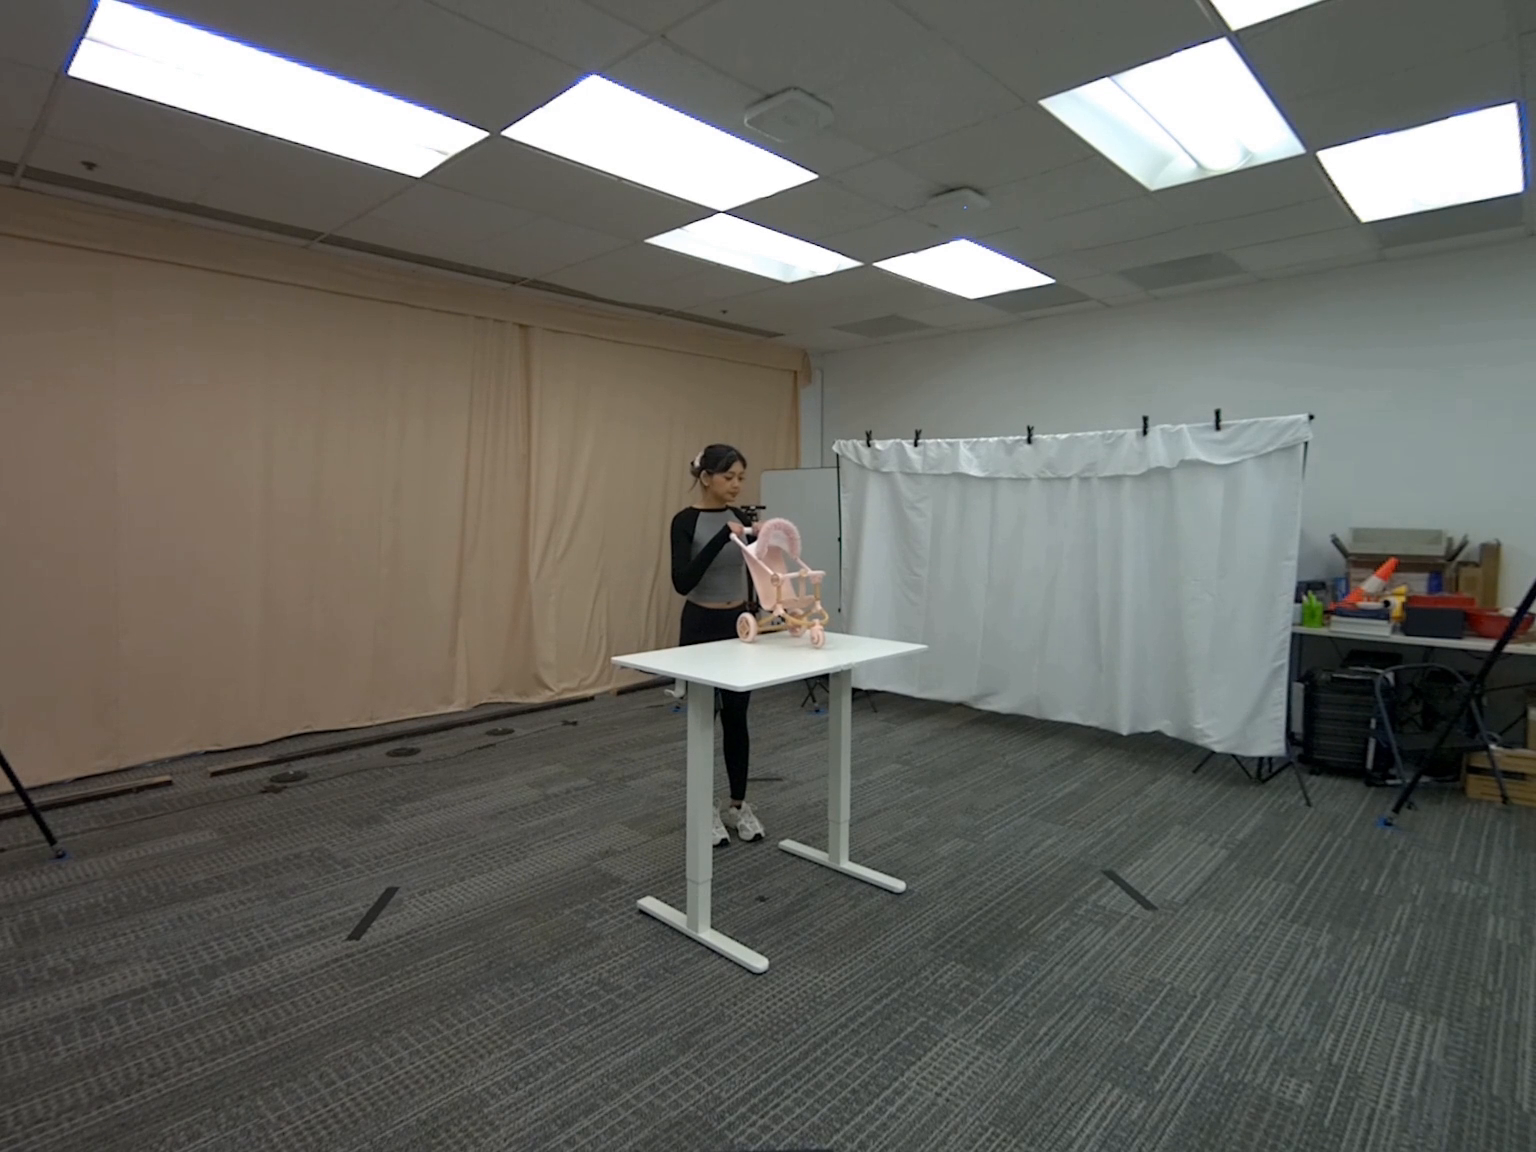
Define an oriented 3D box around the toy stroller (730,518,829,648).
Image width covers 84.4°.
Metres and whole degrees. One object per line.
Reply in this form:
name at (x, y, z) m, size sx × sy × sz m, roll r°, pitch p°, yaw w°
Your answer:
toy stroller at (0.056, 0.022, 3.144) m, size 0.273 × 0.540 × 0.348 m, roll -2°, pitch -13°, yaw -35°
